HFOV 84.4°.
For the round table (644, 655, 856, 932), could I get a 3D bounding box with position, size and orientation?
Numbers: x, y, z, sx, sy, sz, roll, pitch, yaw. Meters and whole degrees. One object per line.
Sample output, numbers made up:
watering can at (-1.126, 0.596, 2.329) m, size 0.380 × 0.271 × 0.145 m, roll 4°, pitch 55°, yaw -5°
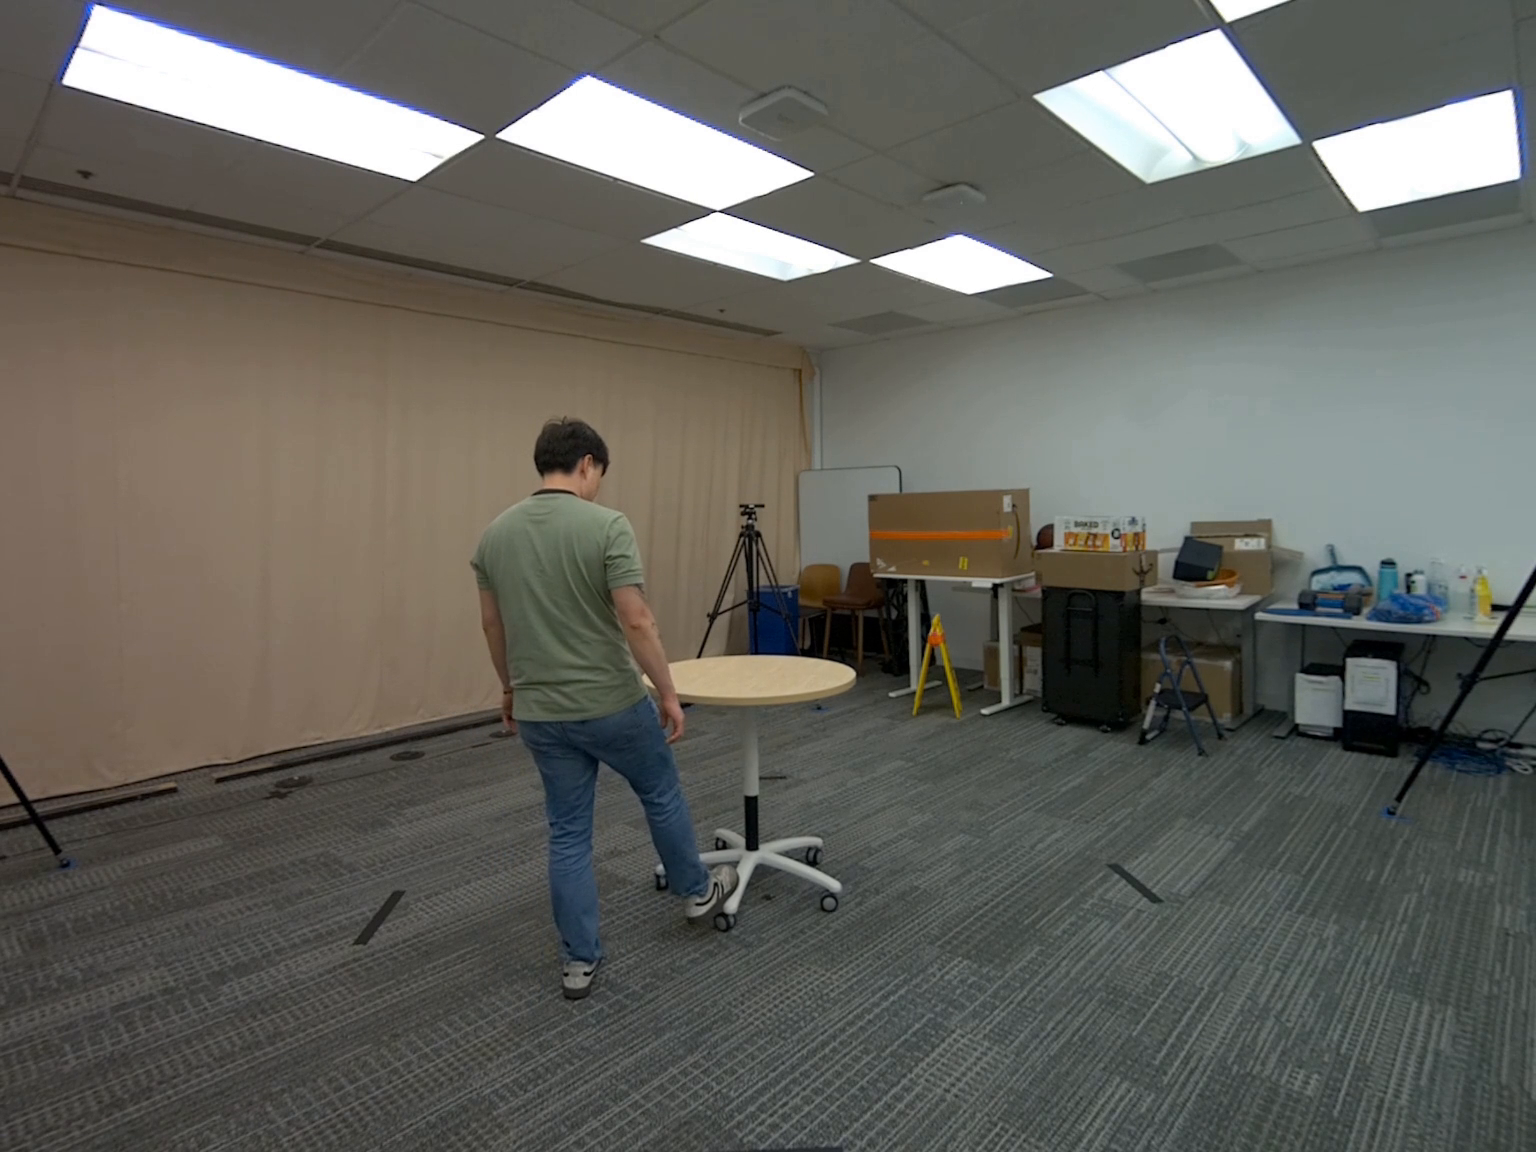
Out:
round table at (-0.054, 0.745, 3.049) m, size 0.763 × 0.792 × 0.766 m, roll -1°, pitch 4°, yaw -2°
